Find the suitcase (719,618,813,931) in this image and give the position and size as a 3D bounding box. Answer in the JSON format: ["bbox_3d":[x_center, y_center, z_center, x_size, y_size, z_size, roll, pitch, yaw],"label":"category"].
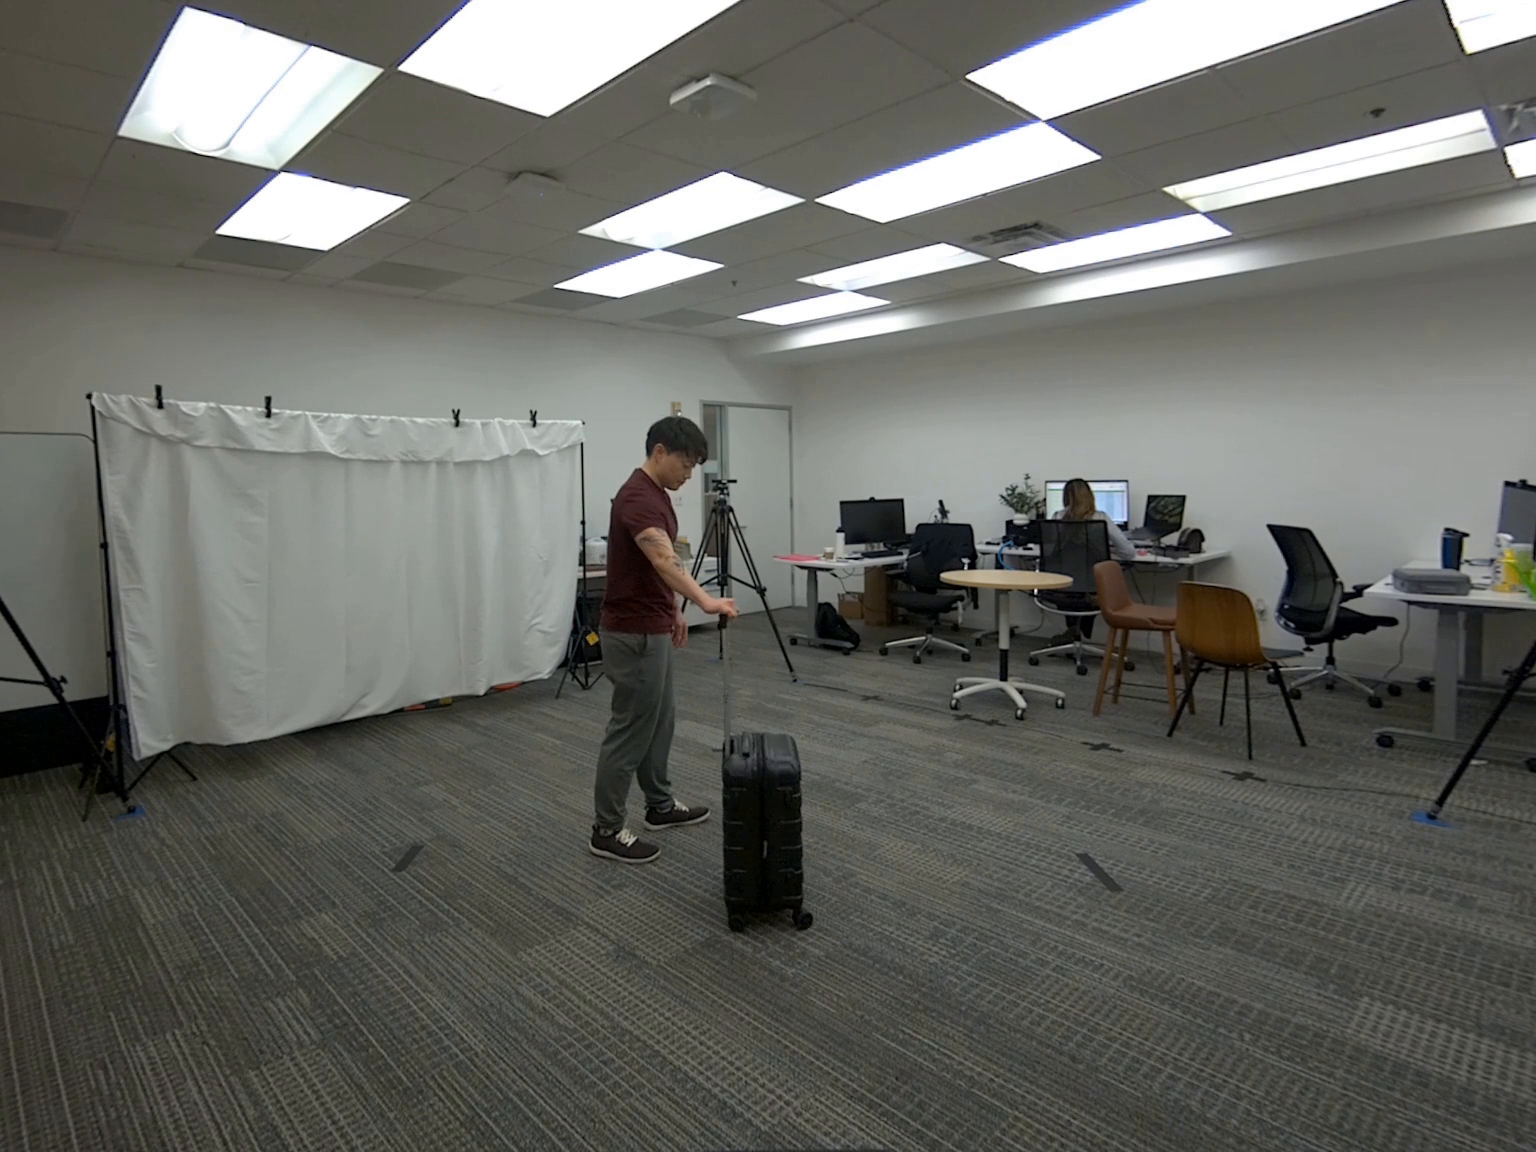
[{"bbox_3d":[-0.019,0.605,2.776,0.257,0.975,0.386,1,4,-2],"label":"suitcase"}]
